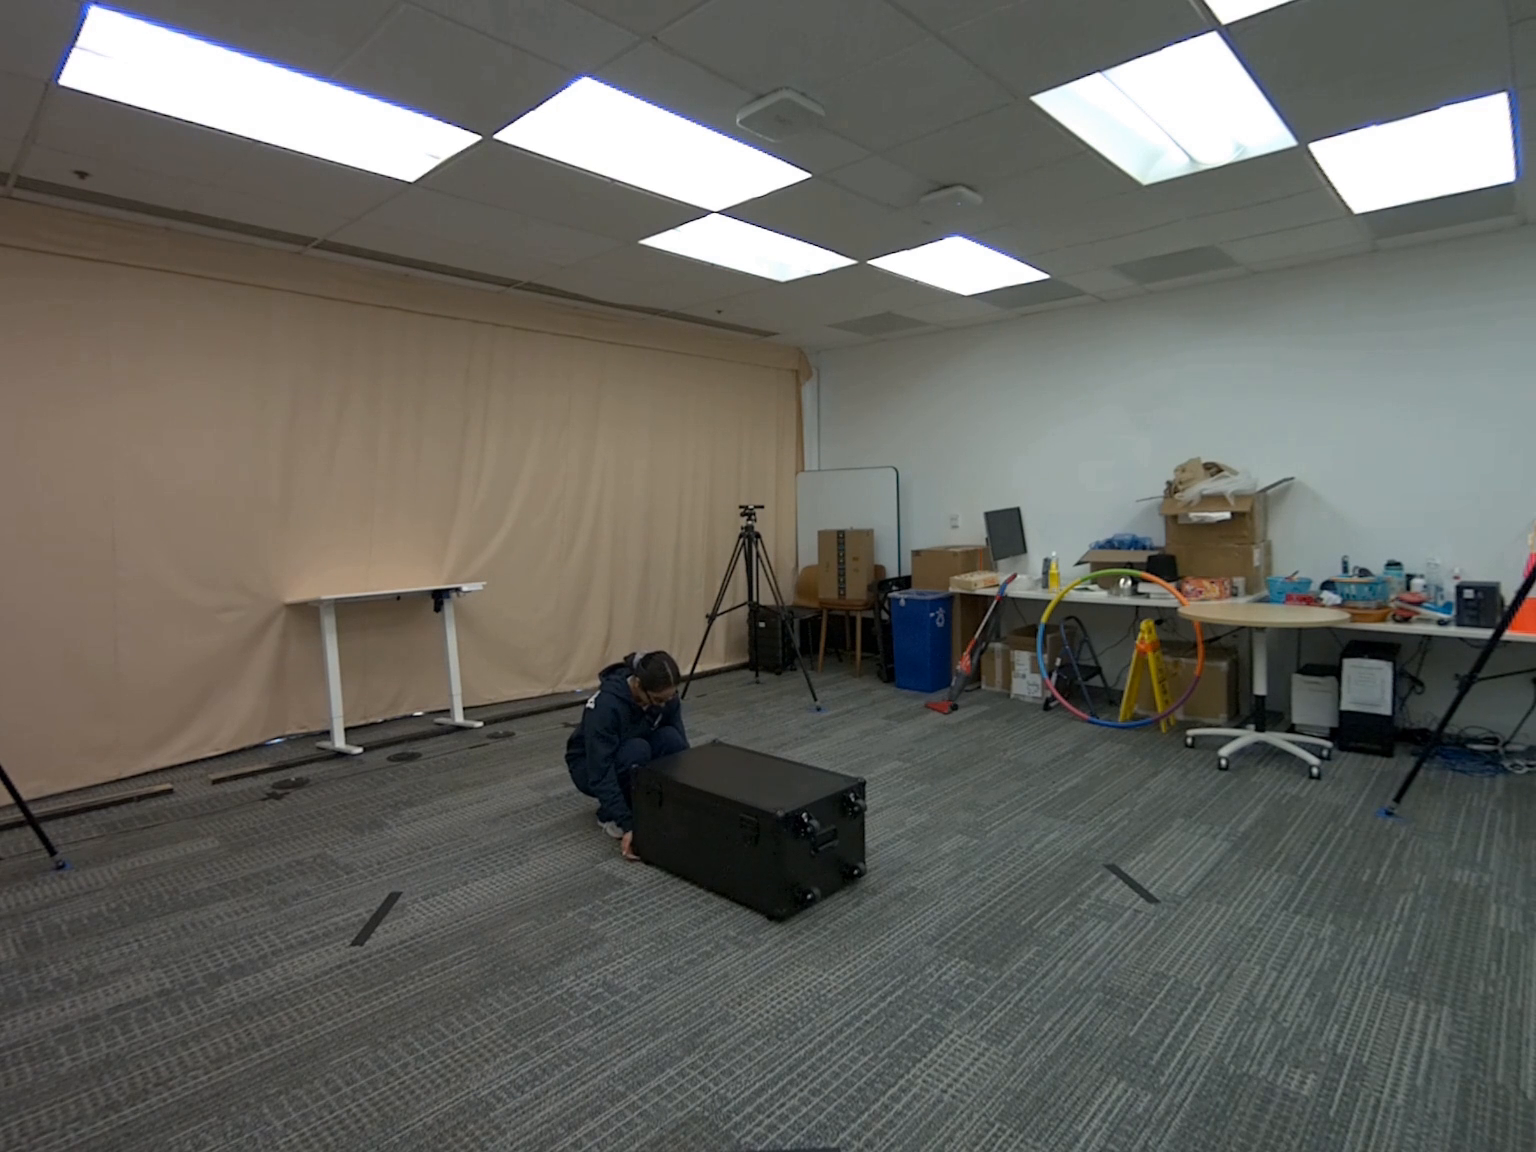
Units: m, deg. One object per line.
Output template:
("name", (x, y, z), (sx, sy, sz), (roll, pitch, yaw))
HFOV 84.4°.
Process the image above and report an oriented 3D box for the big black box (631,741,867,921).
("big black box", (-0.063, 0.934, 3.184), (0.890, 0.395, 0.505), (2, 5, 43))
